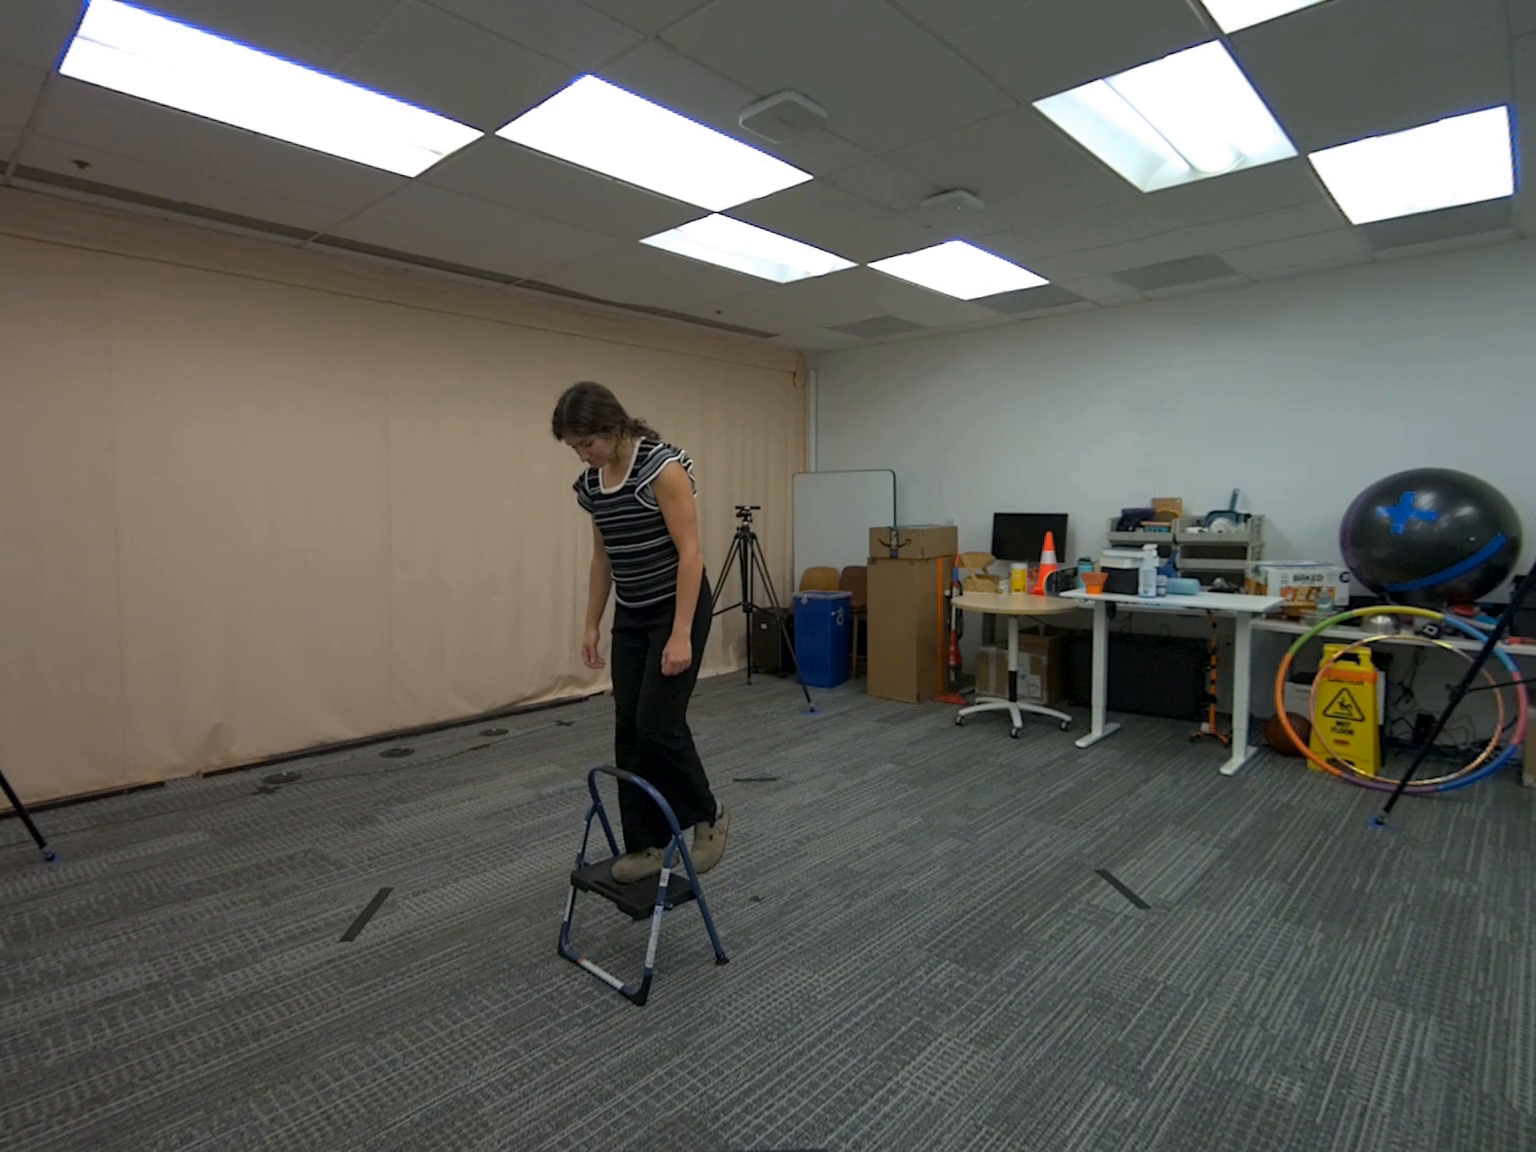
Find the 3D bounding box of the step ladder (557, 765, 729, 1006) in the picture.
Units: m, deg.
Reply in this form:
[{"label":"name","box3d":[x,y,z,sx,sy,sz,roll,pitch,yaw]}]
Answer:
[{"label":"step ladder","box3d":[-0.393,0.878,2.586,0.445,0.605,0.338,3,5,42]}]
